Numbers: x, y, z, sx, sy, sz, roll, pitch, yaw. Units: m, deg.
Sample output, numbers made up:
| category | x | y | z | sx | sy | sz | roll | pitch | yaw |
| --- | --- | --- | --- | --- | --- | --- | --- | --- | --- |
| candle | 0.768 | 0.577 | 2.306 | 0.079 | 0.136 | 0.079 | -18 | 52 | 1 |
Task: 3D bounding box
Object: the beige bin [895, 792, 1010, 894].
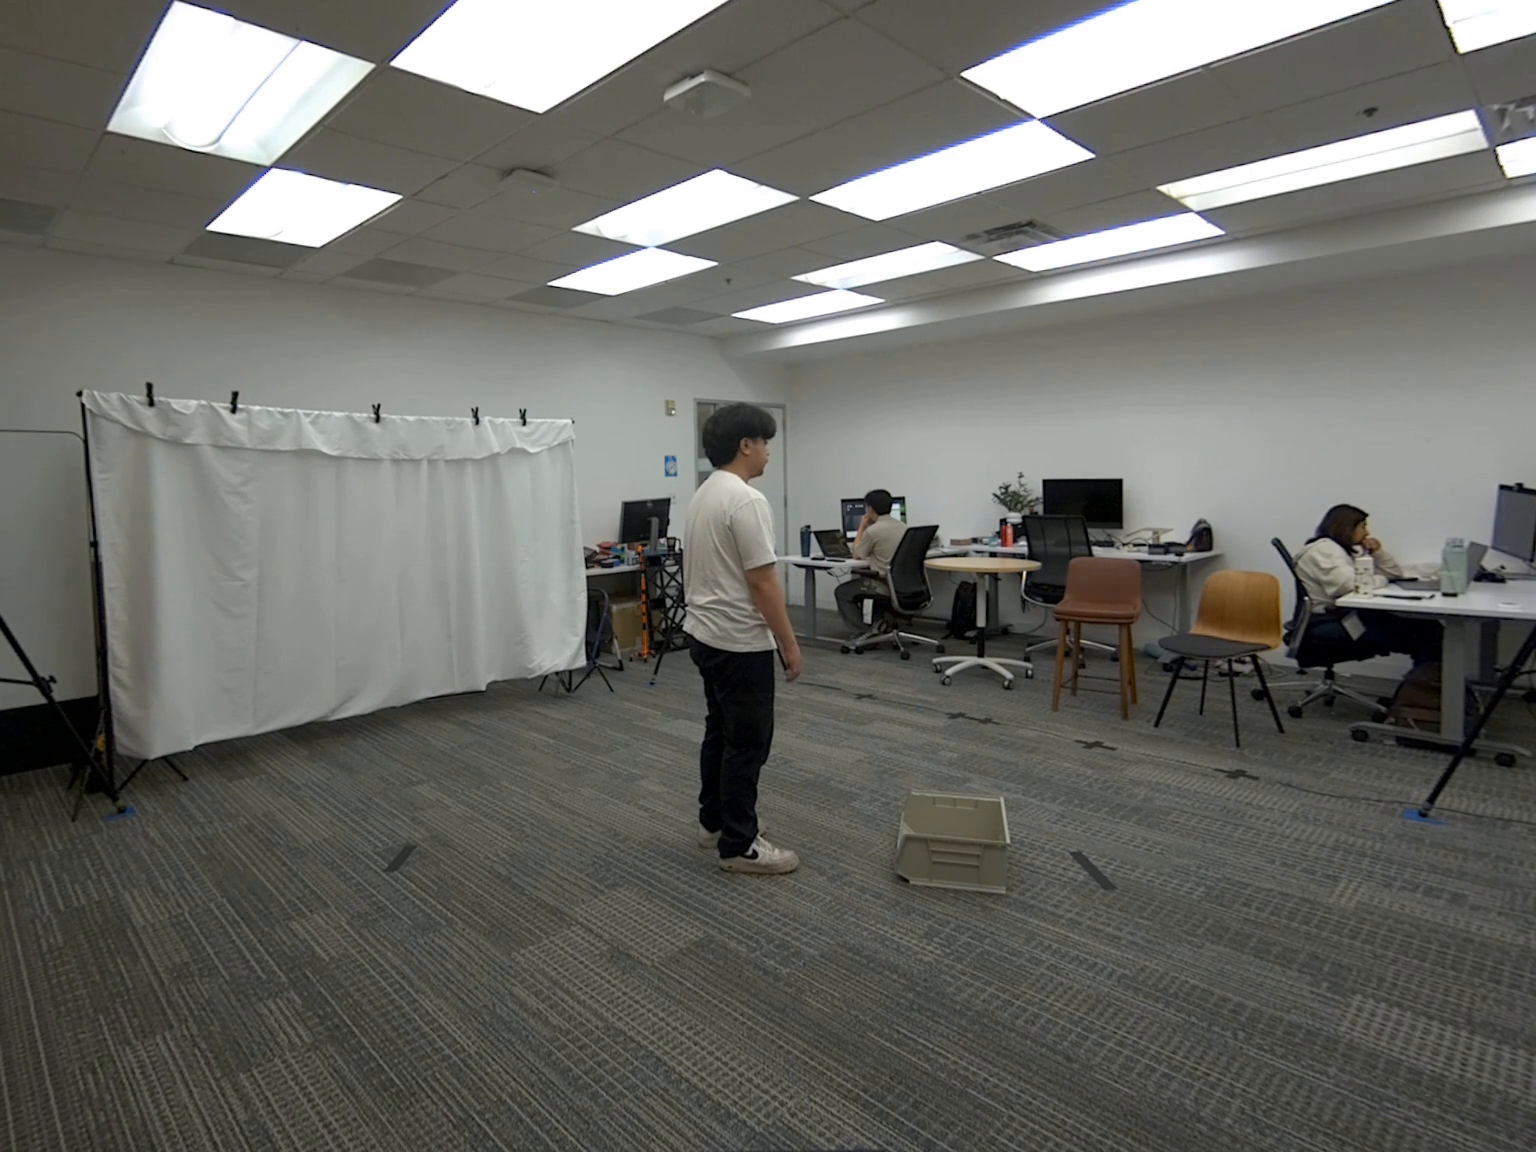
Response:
| category | x | y | z | sx | sy | sz | roll | pitch | yaw |
| --- | --- | --- | --- | --- | --- | --- | --- | --- | --- |
| beige bin | 0.666 | 0.945 | 3.072 | 0.383 | 0.188 | 0.418 | 1 | 5 | 13 |
